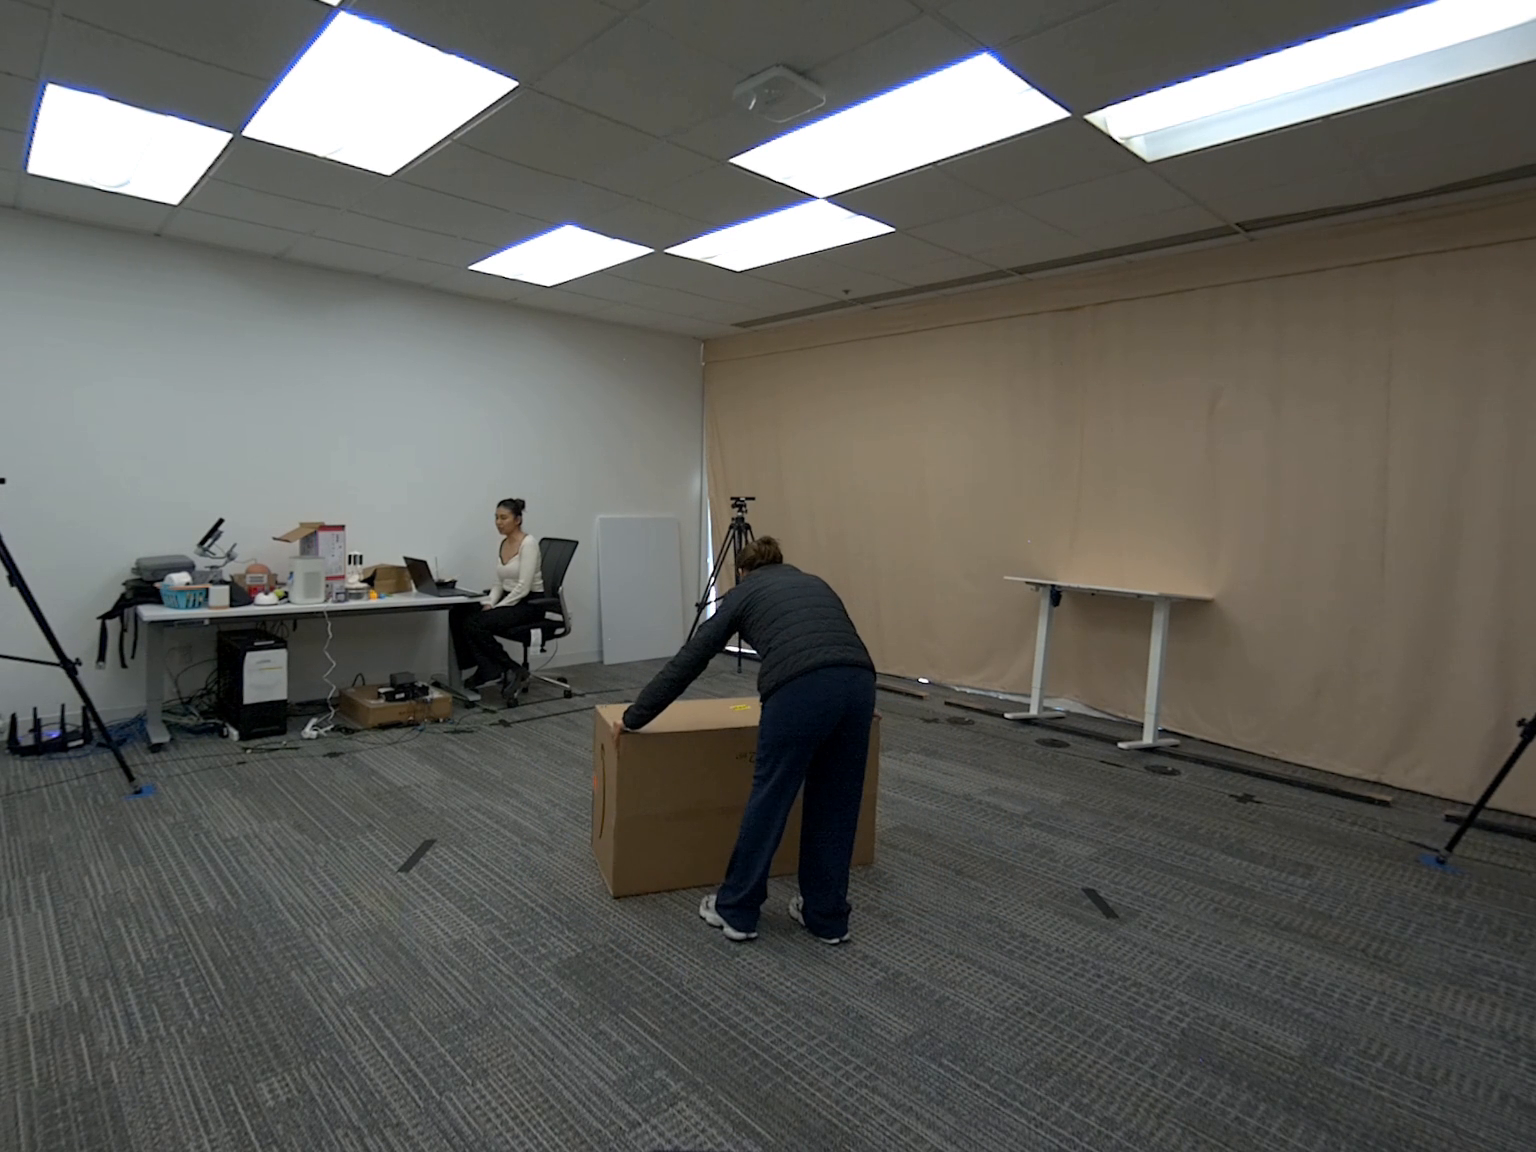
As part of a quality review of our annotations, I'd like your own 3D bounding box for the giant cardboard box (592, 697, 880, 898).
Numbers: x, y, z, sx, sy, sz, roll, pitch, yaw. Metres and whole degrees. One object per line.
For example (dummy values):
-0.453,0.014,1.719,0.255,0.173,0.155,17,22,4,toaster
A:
-0.133,0.805,3.240,1.011,0.583,0.455,0,3,-21,giant cardboard box
